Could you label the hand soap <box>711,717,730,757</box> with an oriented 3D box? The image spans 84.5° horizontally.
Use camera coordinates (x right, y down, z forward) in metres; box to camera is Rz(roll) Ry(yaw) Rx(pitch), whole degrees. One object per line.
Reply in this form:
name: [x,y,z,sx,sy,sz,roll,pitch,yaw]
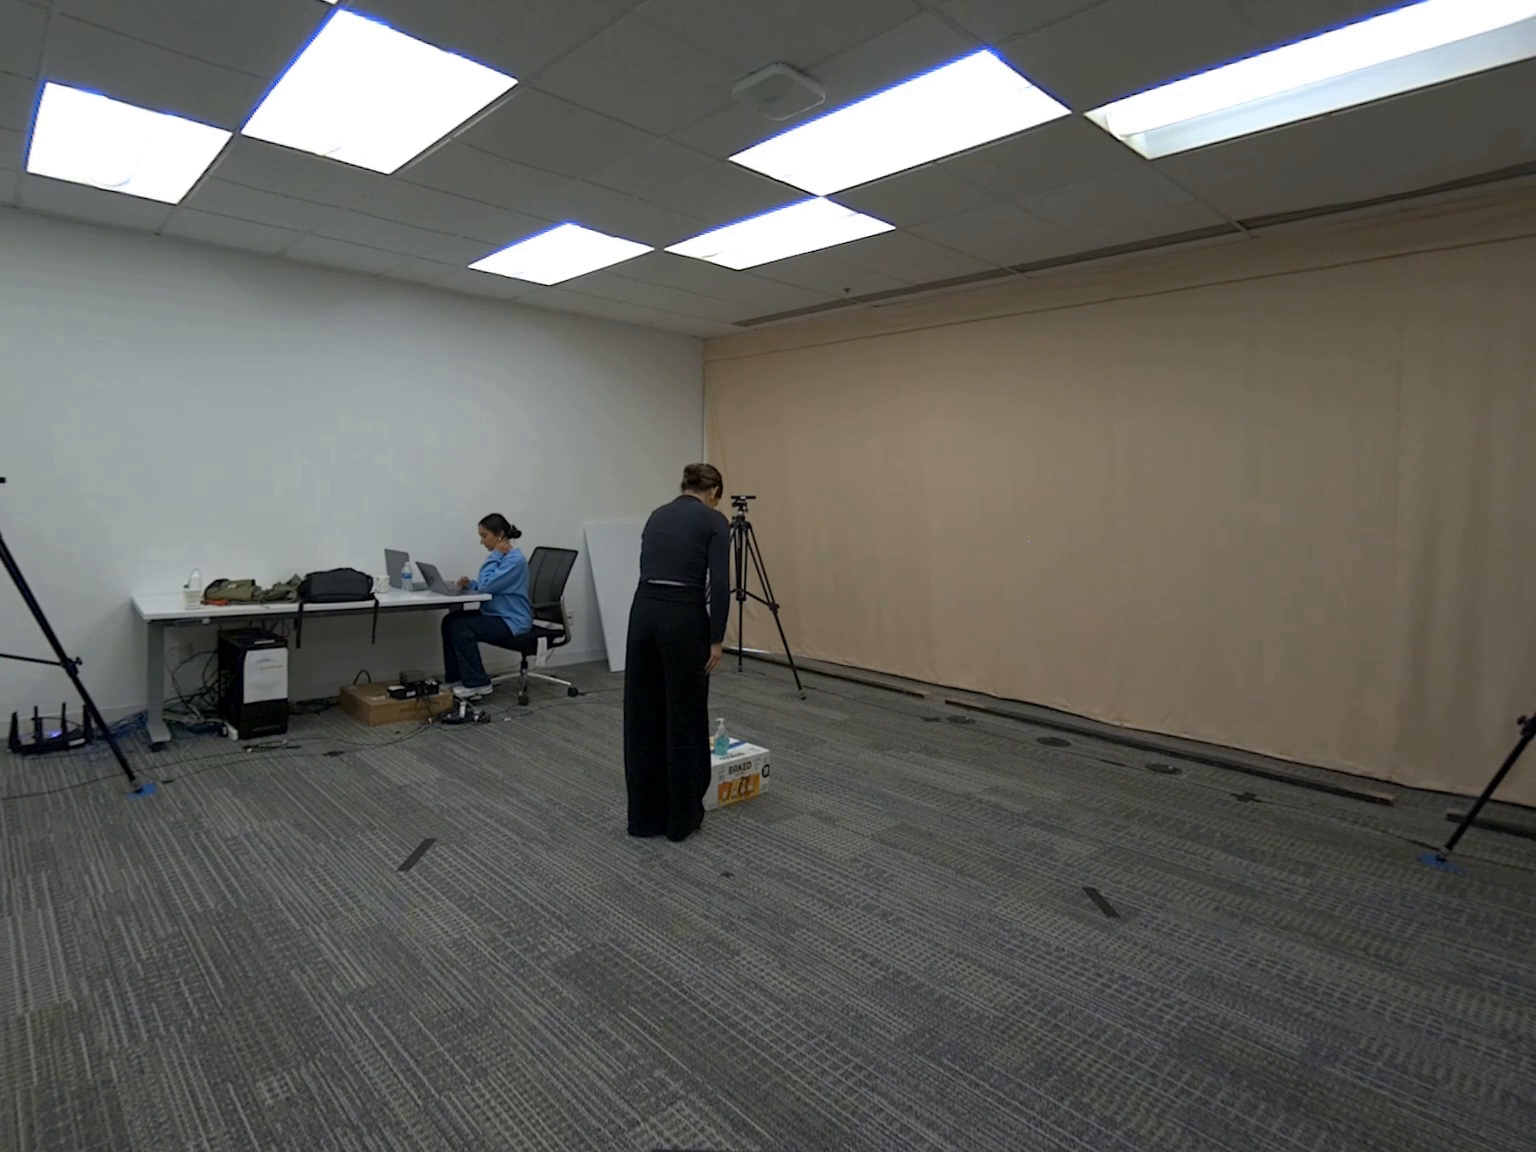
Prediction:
hand soap: [-0.224,0.748,3.935,0.082,0.168,0.044,3,-3,-39]
